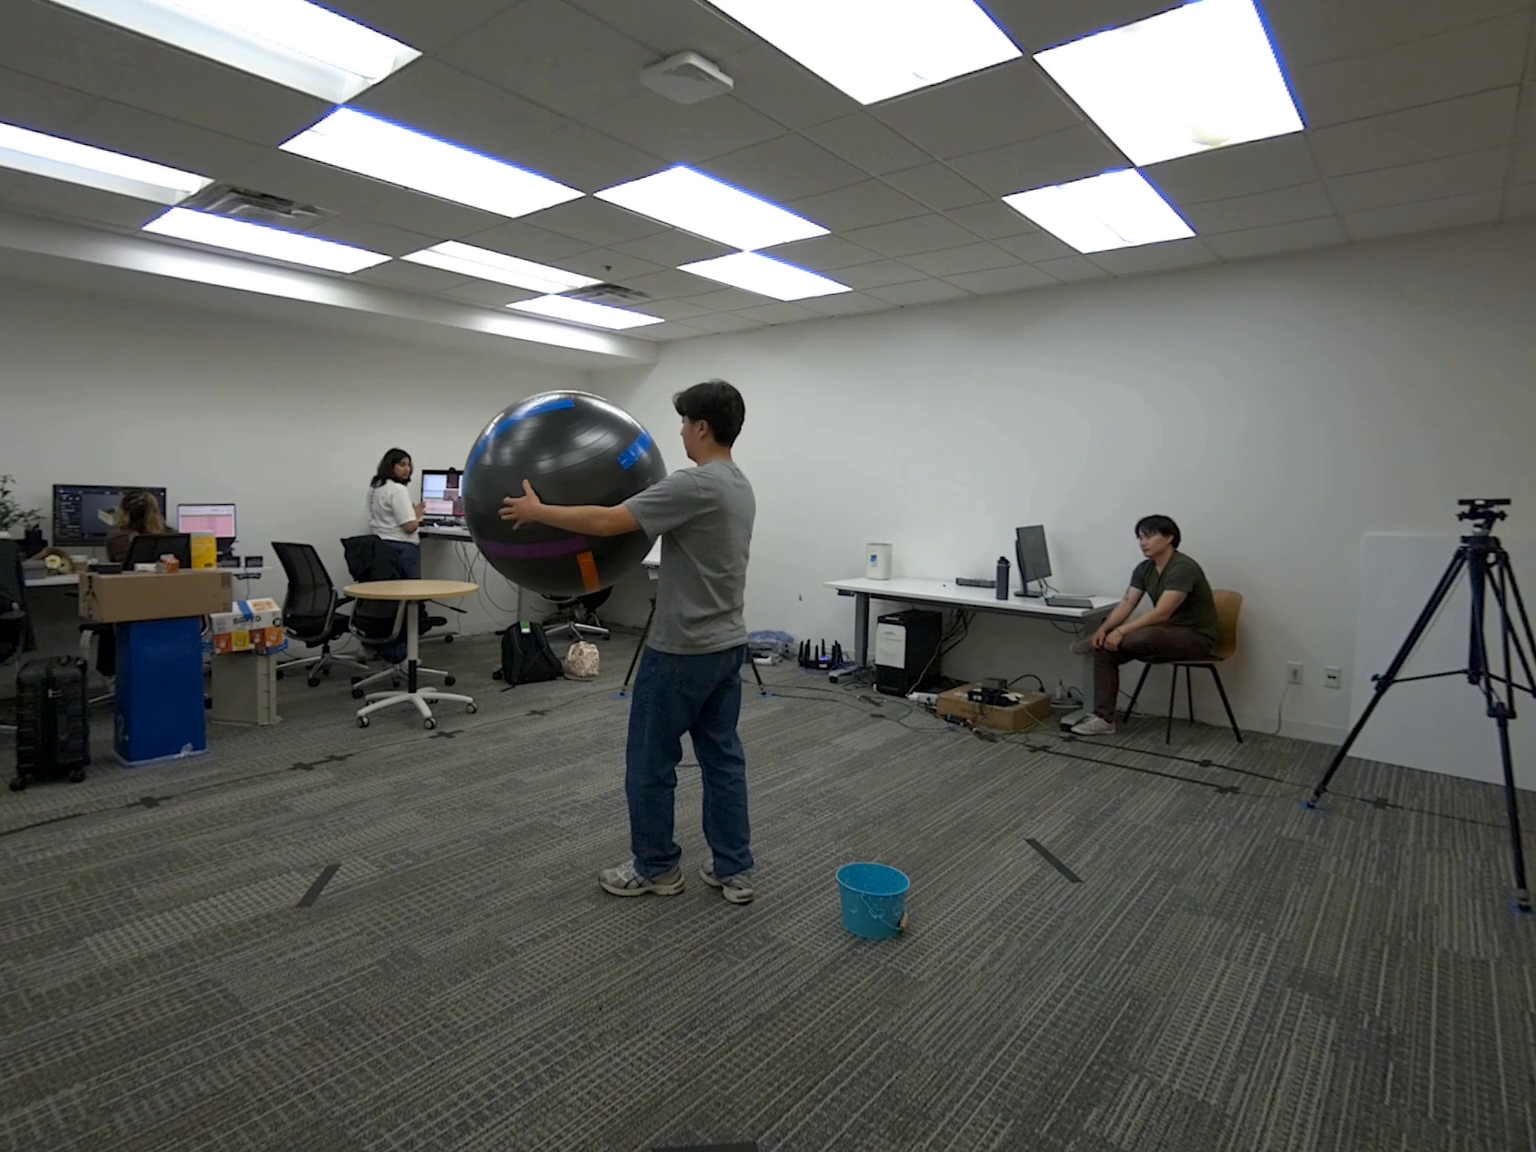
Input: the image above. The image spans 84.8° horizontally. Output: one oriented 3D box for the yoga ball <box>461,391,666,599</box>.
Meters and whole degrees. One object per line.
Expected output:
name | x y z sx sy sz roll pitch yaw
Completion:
yoga ball | -0.771 -0.293 3.168 0.757 0.756 0.761 1 4 -2
